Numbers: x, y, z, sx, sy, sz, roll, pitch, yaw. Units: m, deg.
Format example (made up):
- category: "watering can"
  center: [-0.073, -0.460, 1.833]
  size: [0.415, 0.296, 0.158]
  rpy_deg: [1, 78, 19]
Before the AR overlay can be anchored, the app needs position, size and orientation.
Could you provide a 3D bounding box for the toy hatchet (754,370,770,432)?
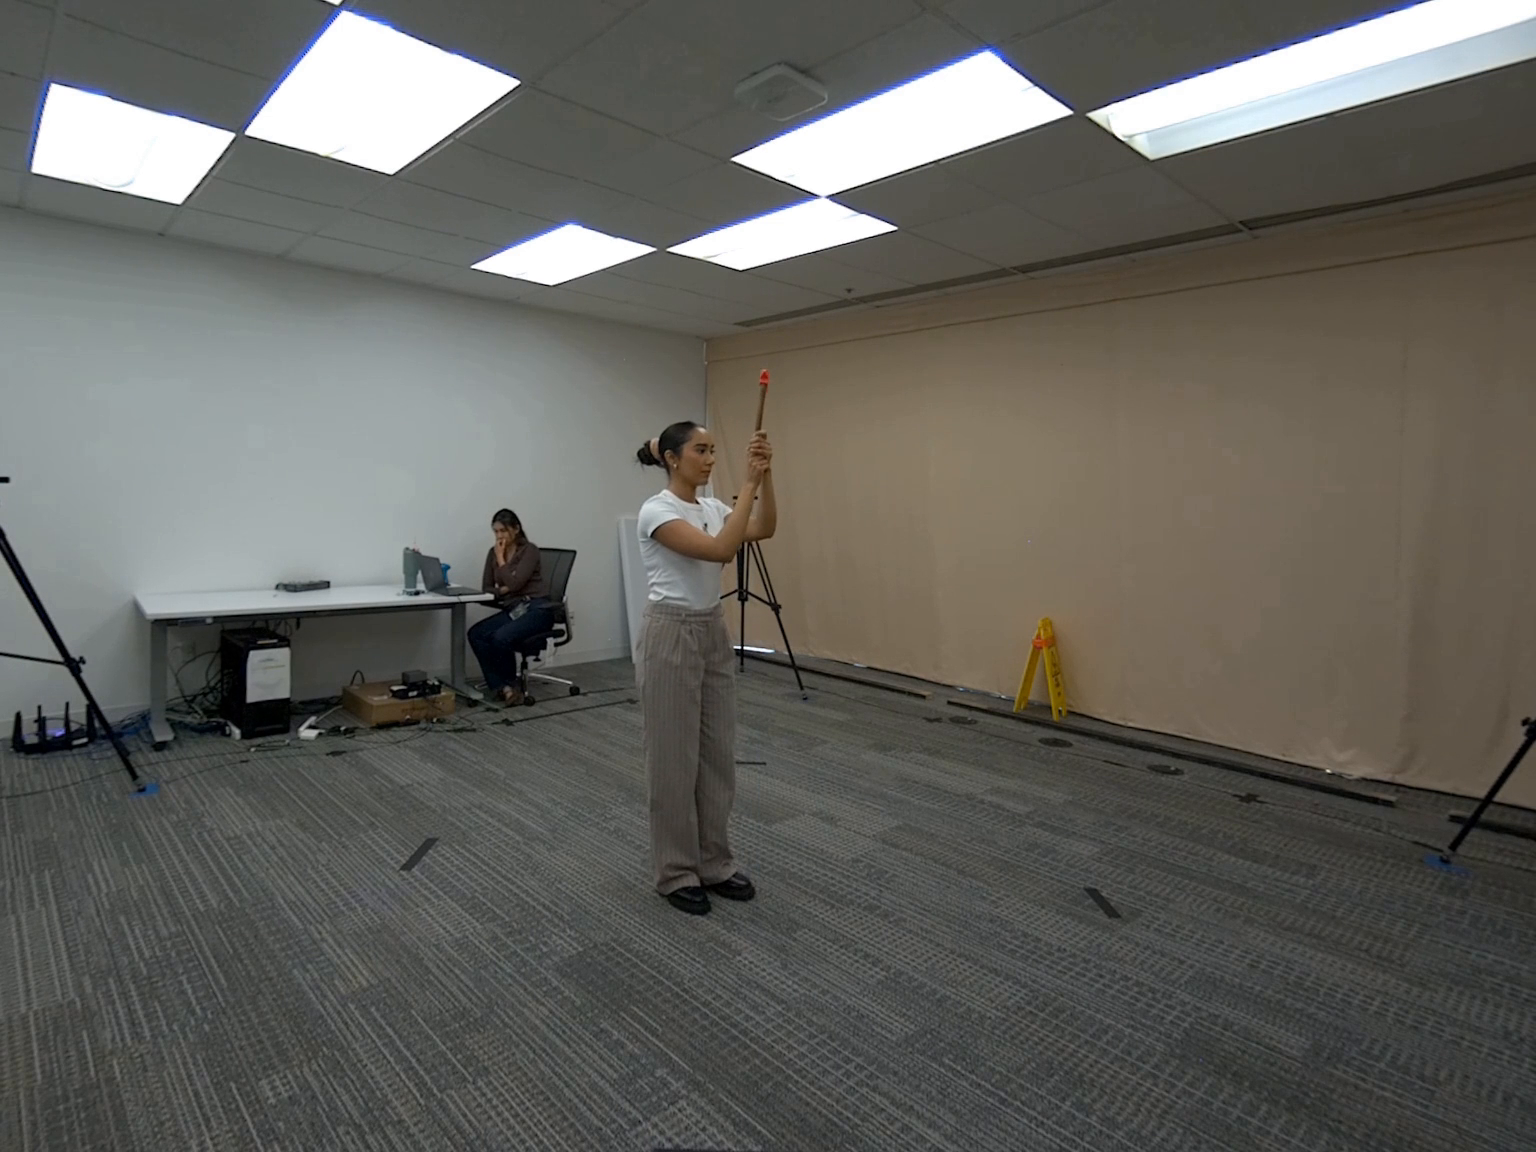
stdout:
- category: "toy hatchet"
  center: [-0.030, -0.529, 2.702]
  size: [0.029, 0.268, 0.131]
  rpy_deg: [6, 8, 0]
